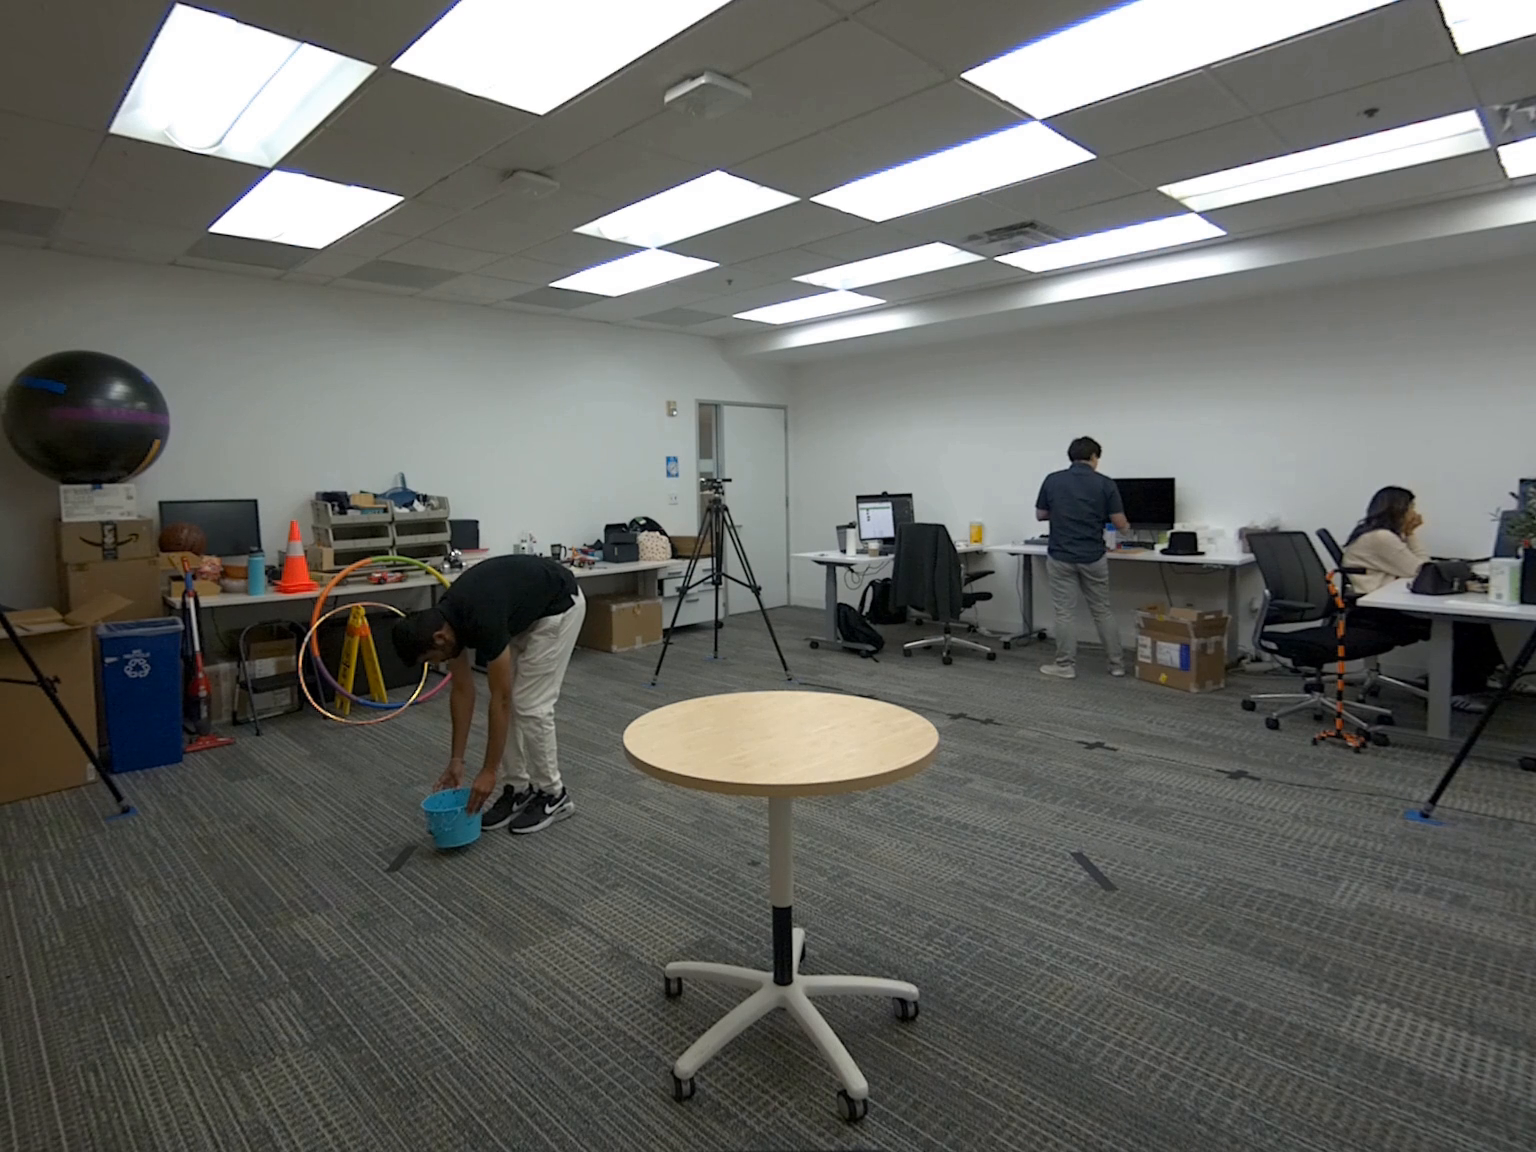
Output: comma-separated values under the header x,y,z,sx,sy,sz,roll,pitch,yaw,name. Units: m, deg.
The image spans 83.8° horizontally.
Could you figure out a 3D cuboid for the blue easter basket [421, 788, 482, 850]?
x,y,z,sx,sy,sz,roll,pitch,yaw,name
-1.220,0.929,3.290,0.243,0.155,0.245,-5,6,-1,blue easter basket
